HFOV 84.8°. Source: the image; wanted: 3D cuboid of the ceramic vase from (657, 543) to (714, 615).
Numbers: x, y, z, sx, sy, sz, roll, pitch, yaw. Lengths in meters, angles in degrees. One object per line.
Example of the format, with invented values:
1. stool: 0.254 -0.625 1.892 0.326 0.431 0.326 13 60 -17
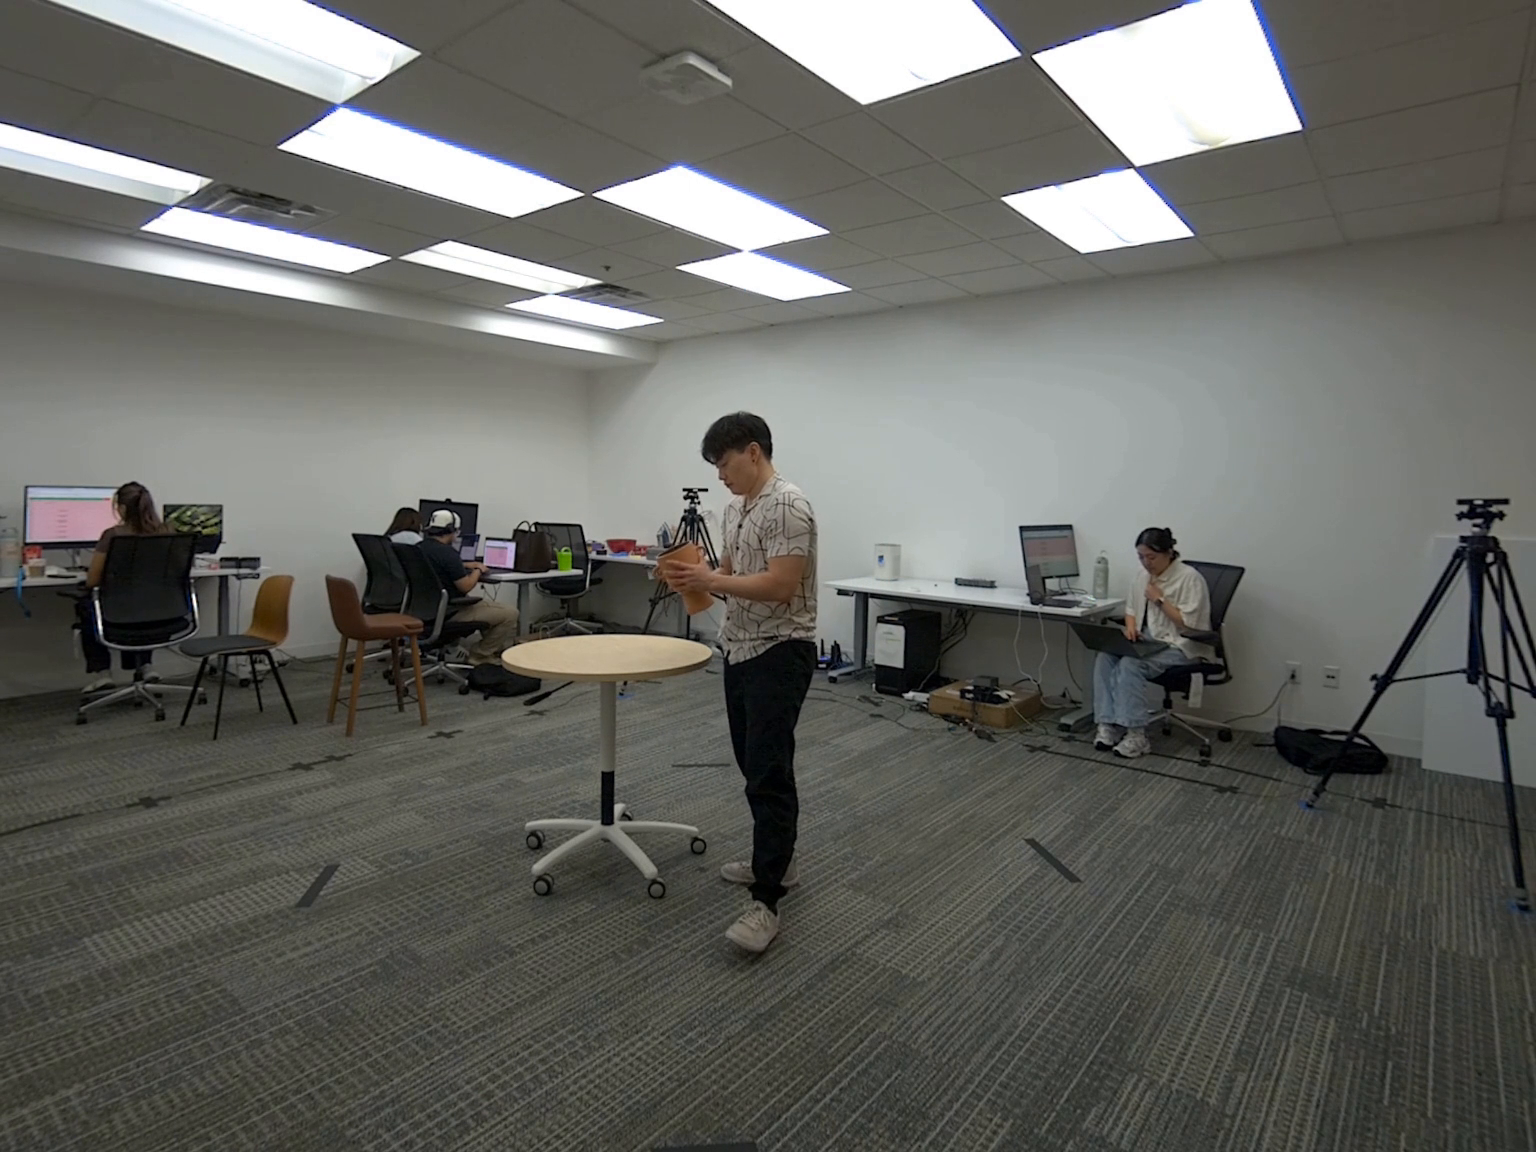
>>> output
1. ceramic vase: -0.281 0.002 2.818 0.161 0.217 0.134 -21 9 26
